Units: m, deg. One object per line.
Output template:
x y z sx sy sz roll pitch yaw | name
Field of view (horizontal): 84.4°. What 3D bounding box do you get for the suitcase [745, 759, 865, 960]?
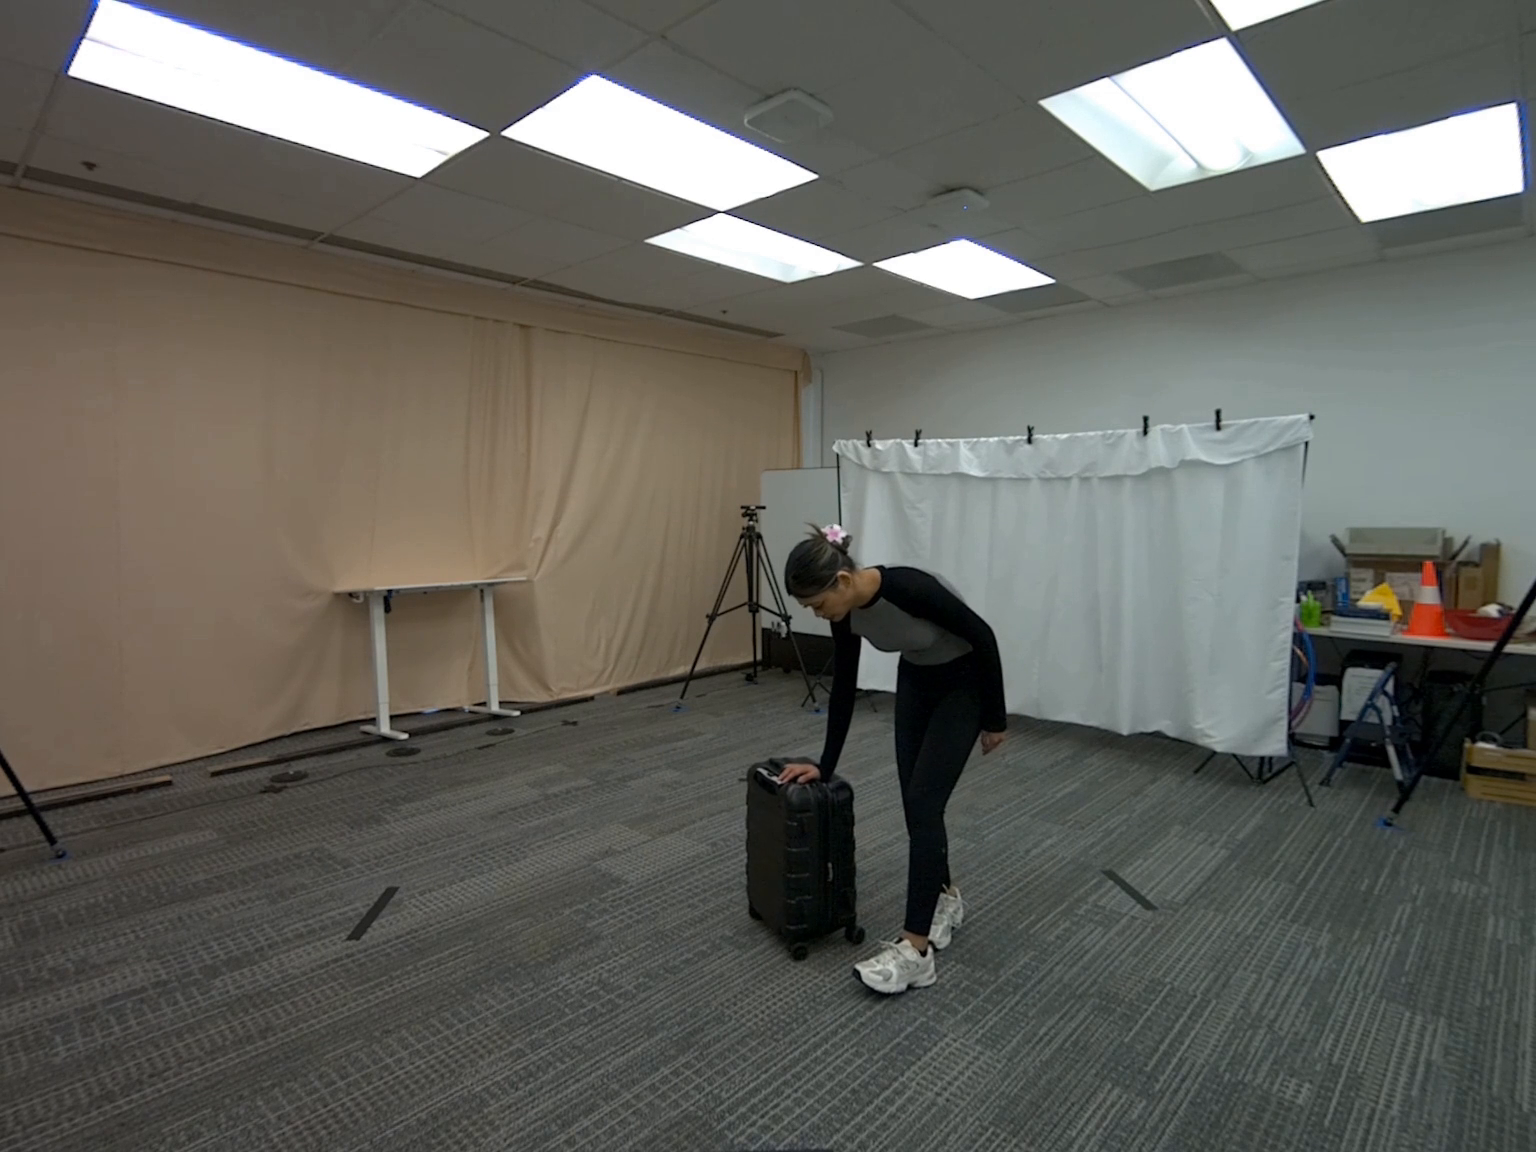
0.108 0.889 2.755 0.242 0.548 0.385 -3 5 -26 | suitcase
